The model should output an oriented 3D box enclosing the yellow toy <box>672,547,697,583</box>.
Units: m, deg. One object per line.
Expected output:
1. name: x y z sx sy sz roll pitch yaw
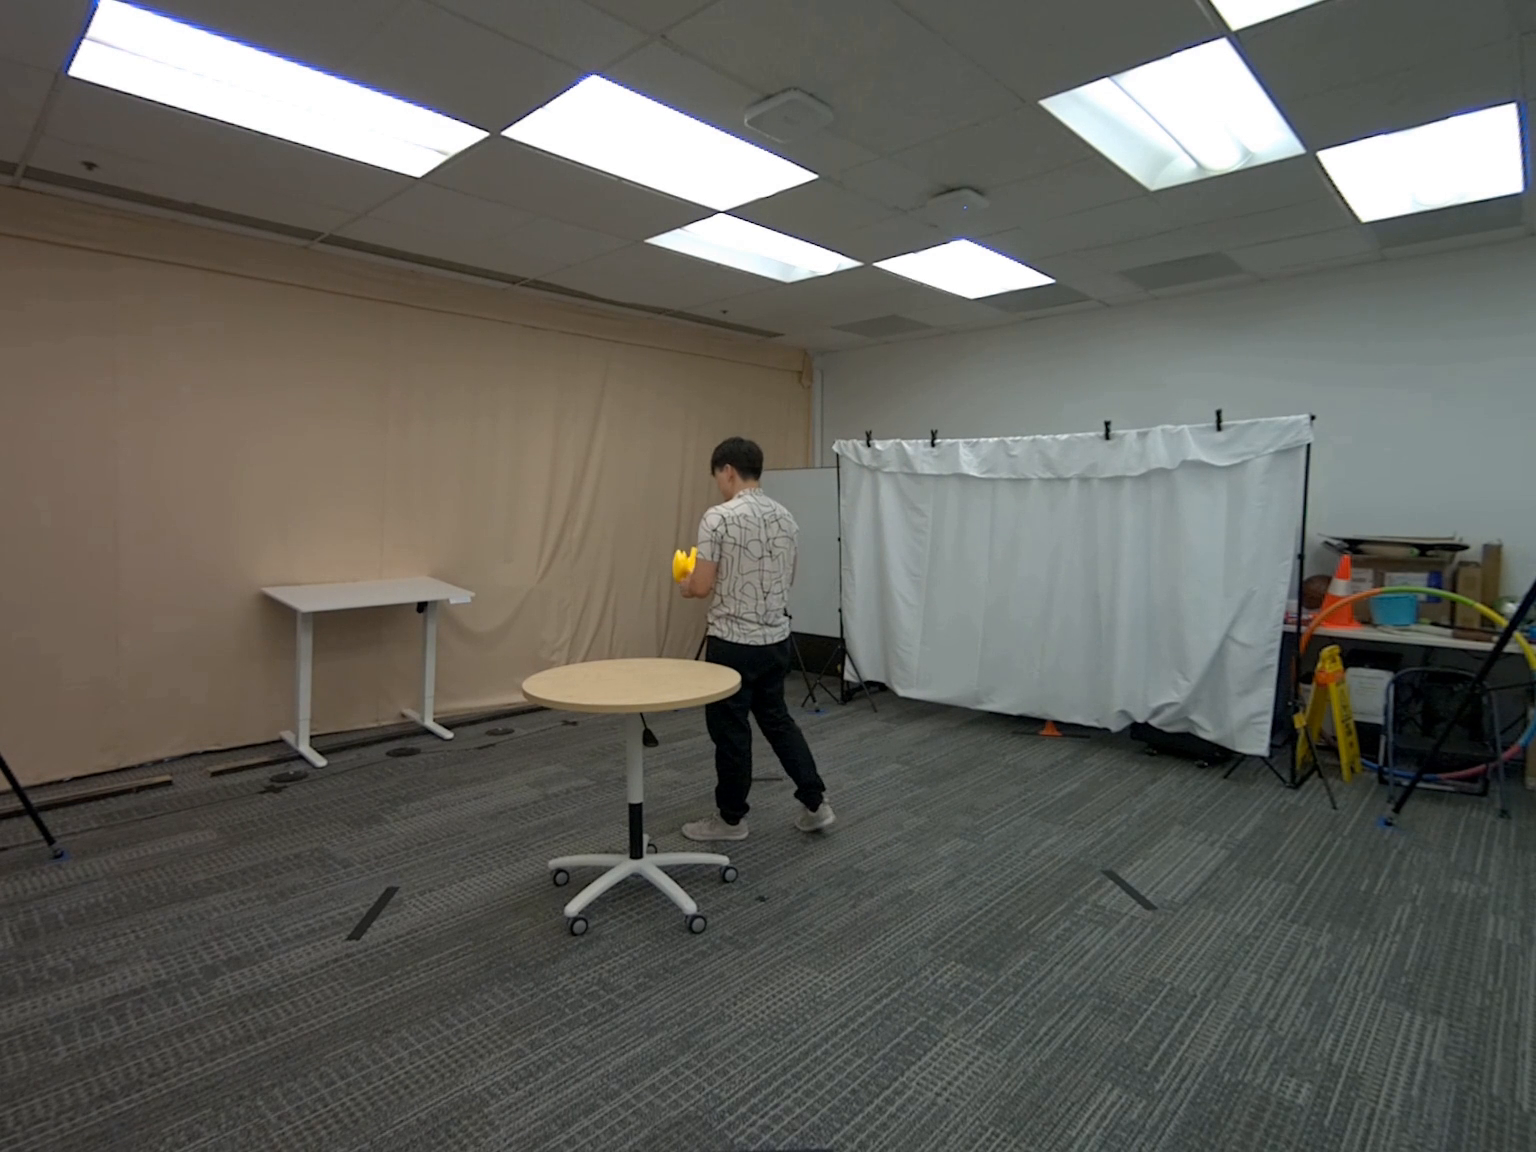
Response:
1. yellow toy: -0.263 -0.023 3.675 0.199 0.192 0.238 -9 9 -43
